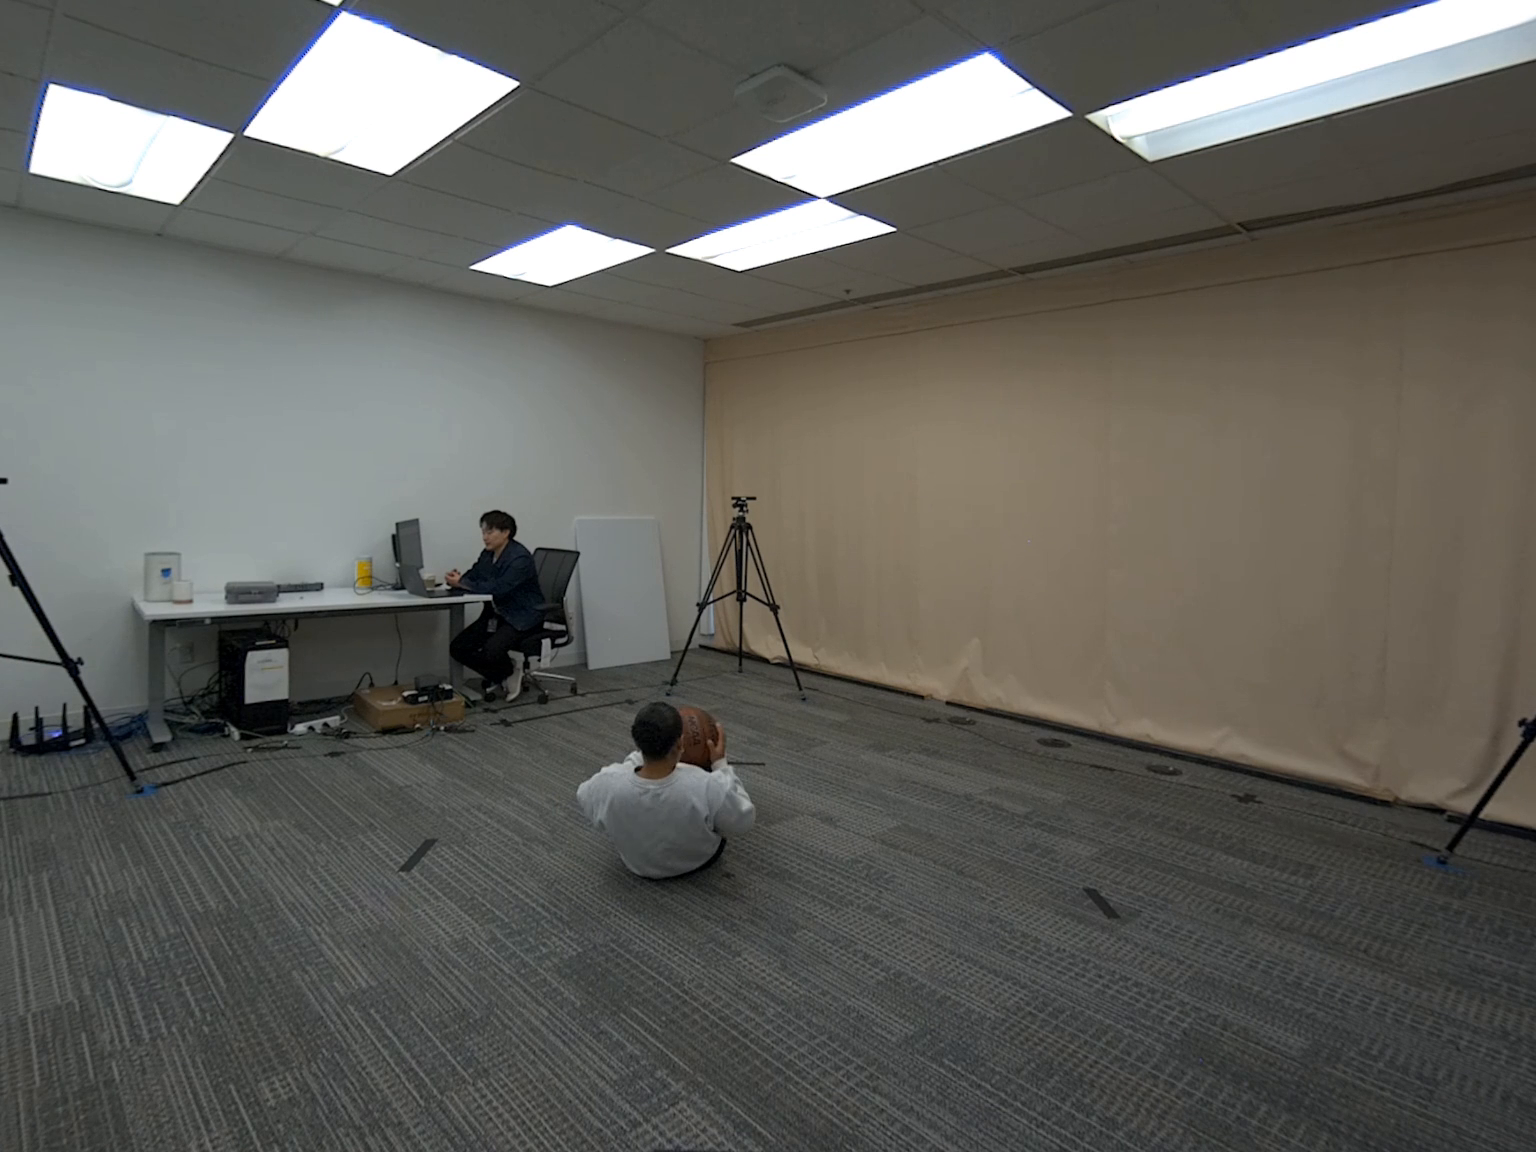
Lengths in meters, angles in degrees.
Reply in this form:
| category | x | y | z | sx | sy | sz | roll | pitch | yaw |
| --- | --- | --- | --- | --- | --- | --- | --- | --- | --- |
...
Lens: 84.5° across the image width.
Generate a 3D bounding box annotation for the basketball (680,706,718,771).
| category | x | y | z | sx | sy | sz | roll | pitch | yaw |
| --- | --- | --- | --- | --- | --- | --- | --- | --- | --- |
| basketball | -0.319 | 0.647 | 3.236 | 0.236 | 0.235 | 0.237 | 1 | 4 | -1 |
